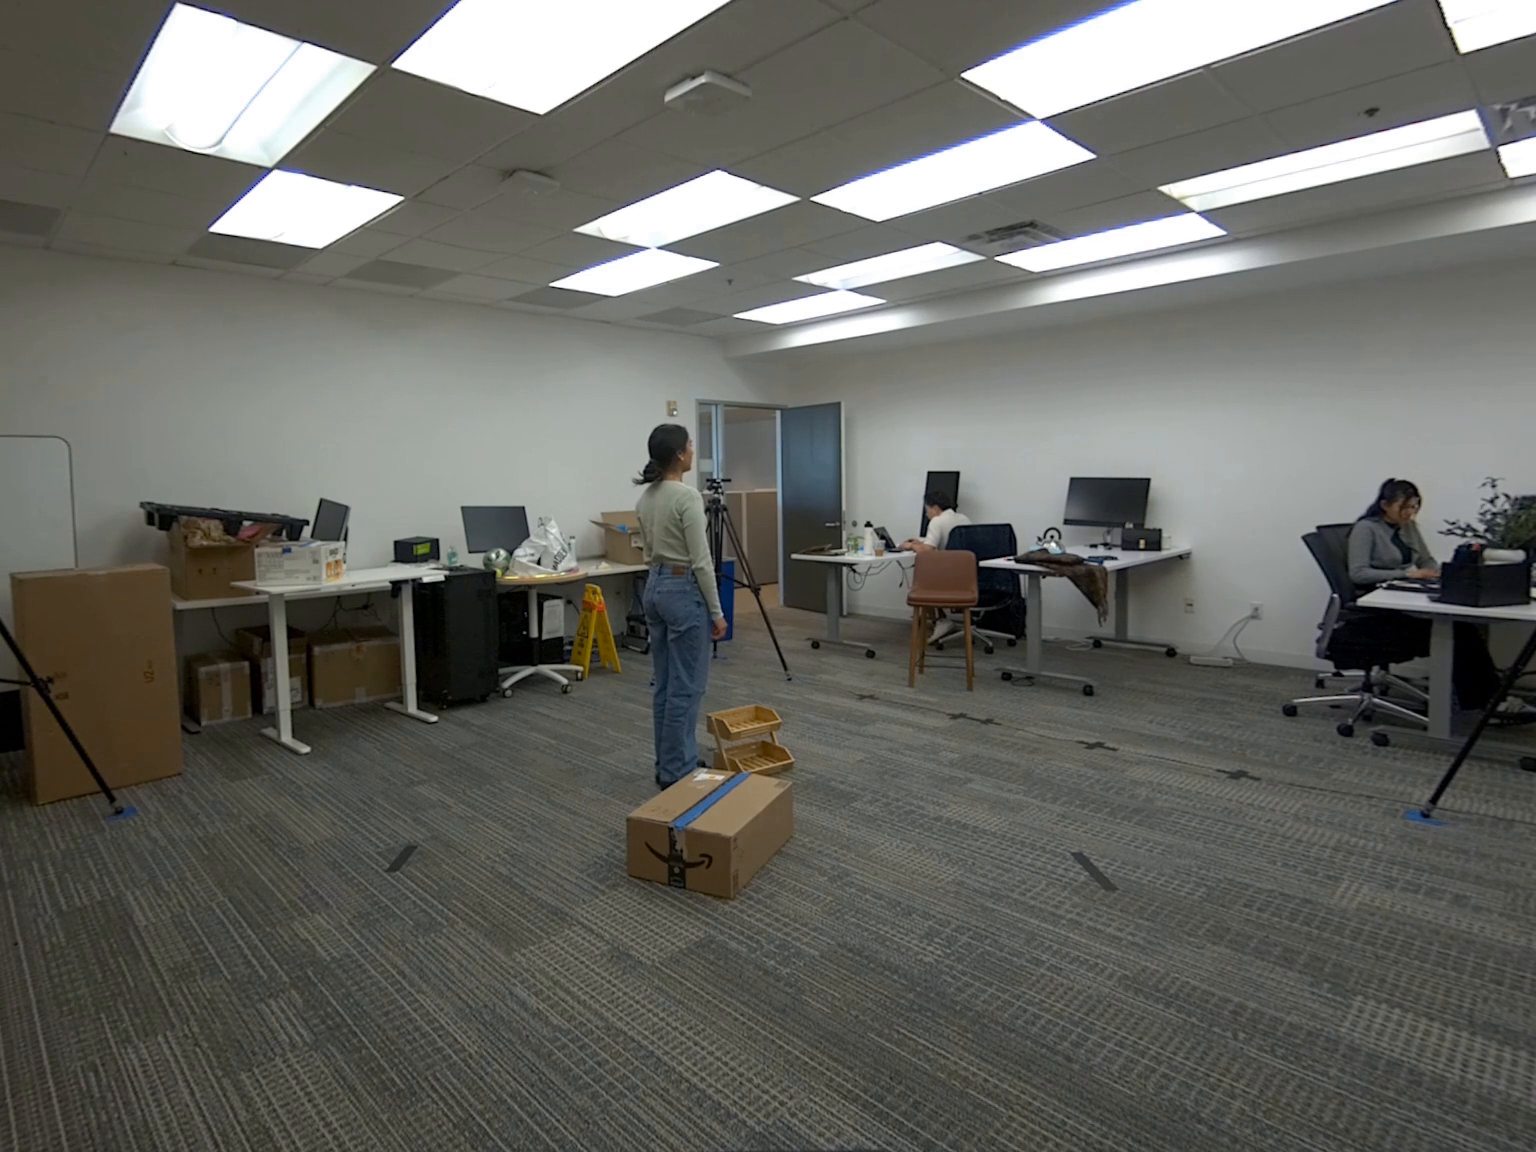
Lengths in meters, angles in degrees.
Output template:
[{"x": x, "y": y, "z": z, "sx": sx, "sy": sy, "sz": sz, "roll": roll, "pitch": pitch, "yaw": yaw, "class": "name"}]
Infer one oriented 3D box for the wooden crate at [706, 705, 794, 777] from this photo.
[{"x": -0.089, "y": 0.790, "z": 4.121, "sx": 0.316, "sy": 0.272, "sz": 0.311, "roll": -5, "pitch": 5, "yaw": -36, "class": "wooden crate"}]
